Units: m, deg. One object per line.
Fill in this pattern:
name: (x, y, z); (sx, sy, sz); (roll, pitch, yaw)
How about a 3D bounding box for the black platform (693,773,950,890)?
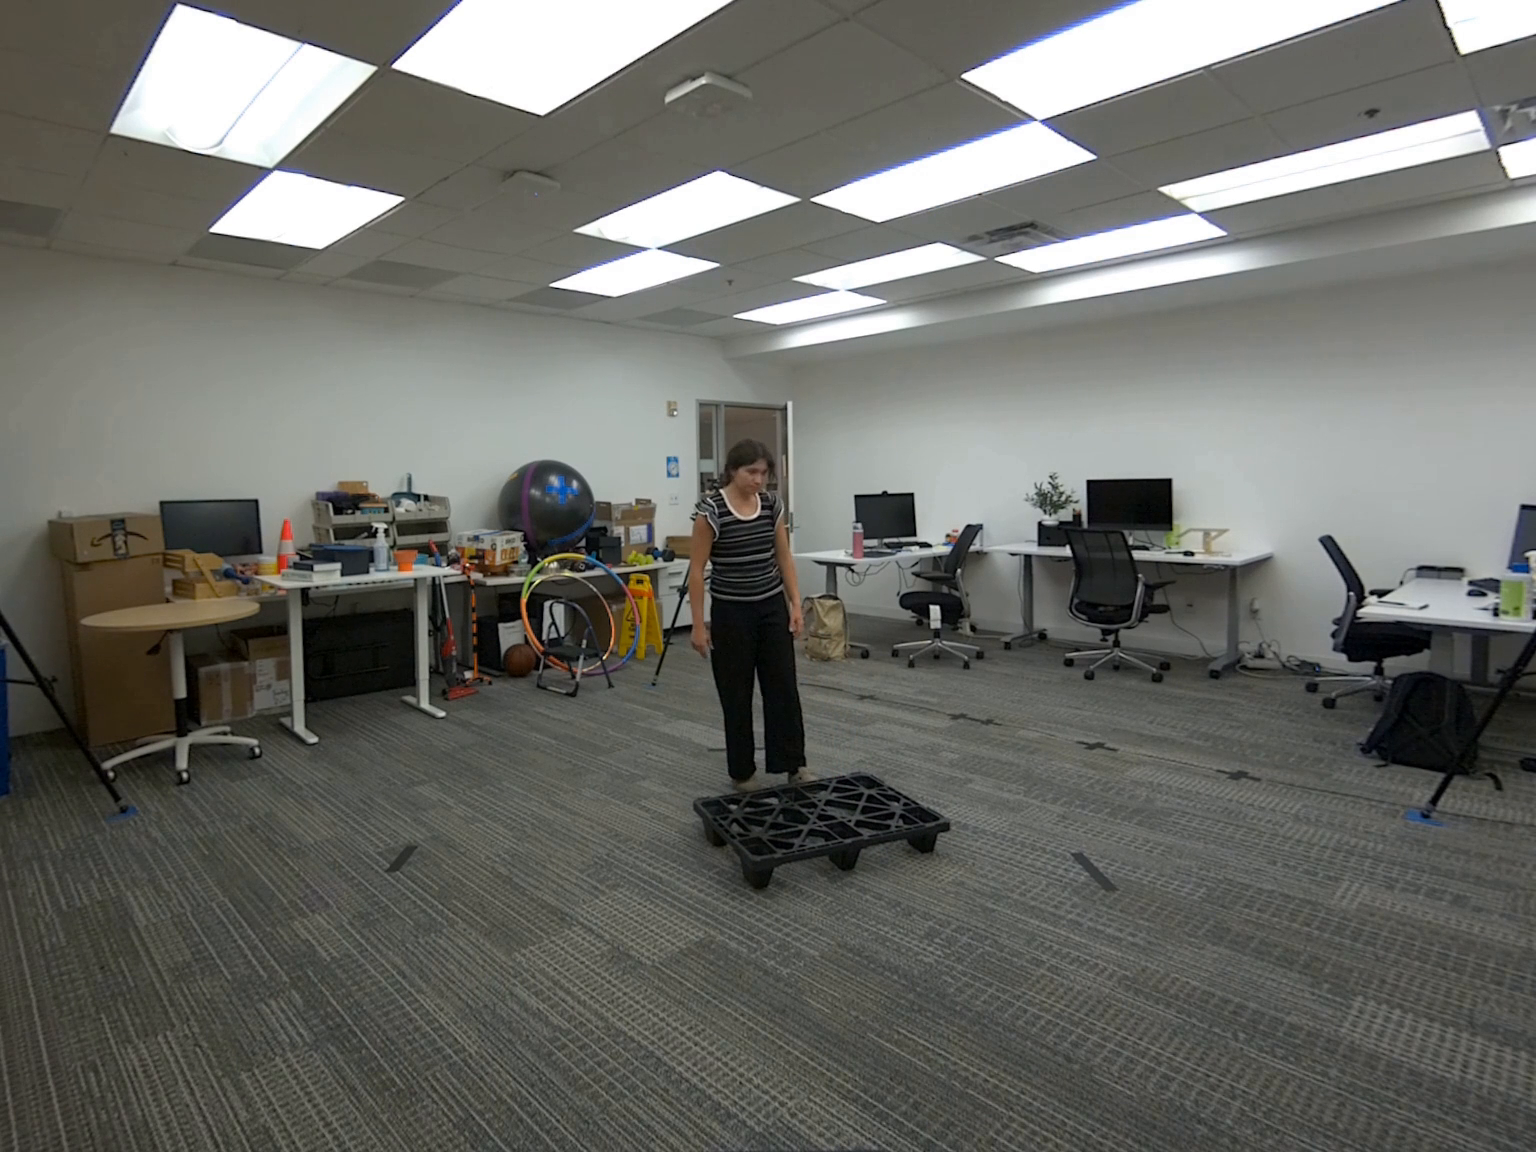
black platform: (0.193, 0.958, 3.253); (0.790, 0.142, 0.620); (-4, 7, -23)
